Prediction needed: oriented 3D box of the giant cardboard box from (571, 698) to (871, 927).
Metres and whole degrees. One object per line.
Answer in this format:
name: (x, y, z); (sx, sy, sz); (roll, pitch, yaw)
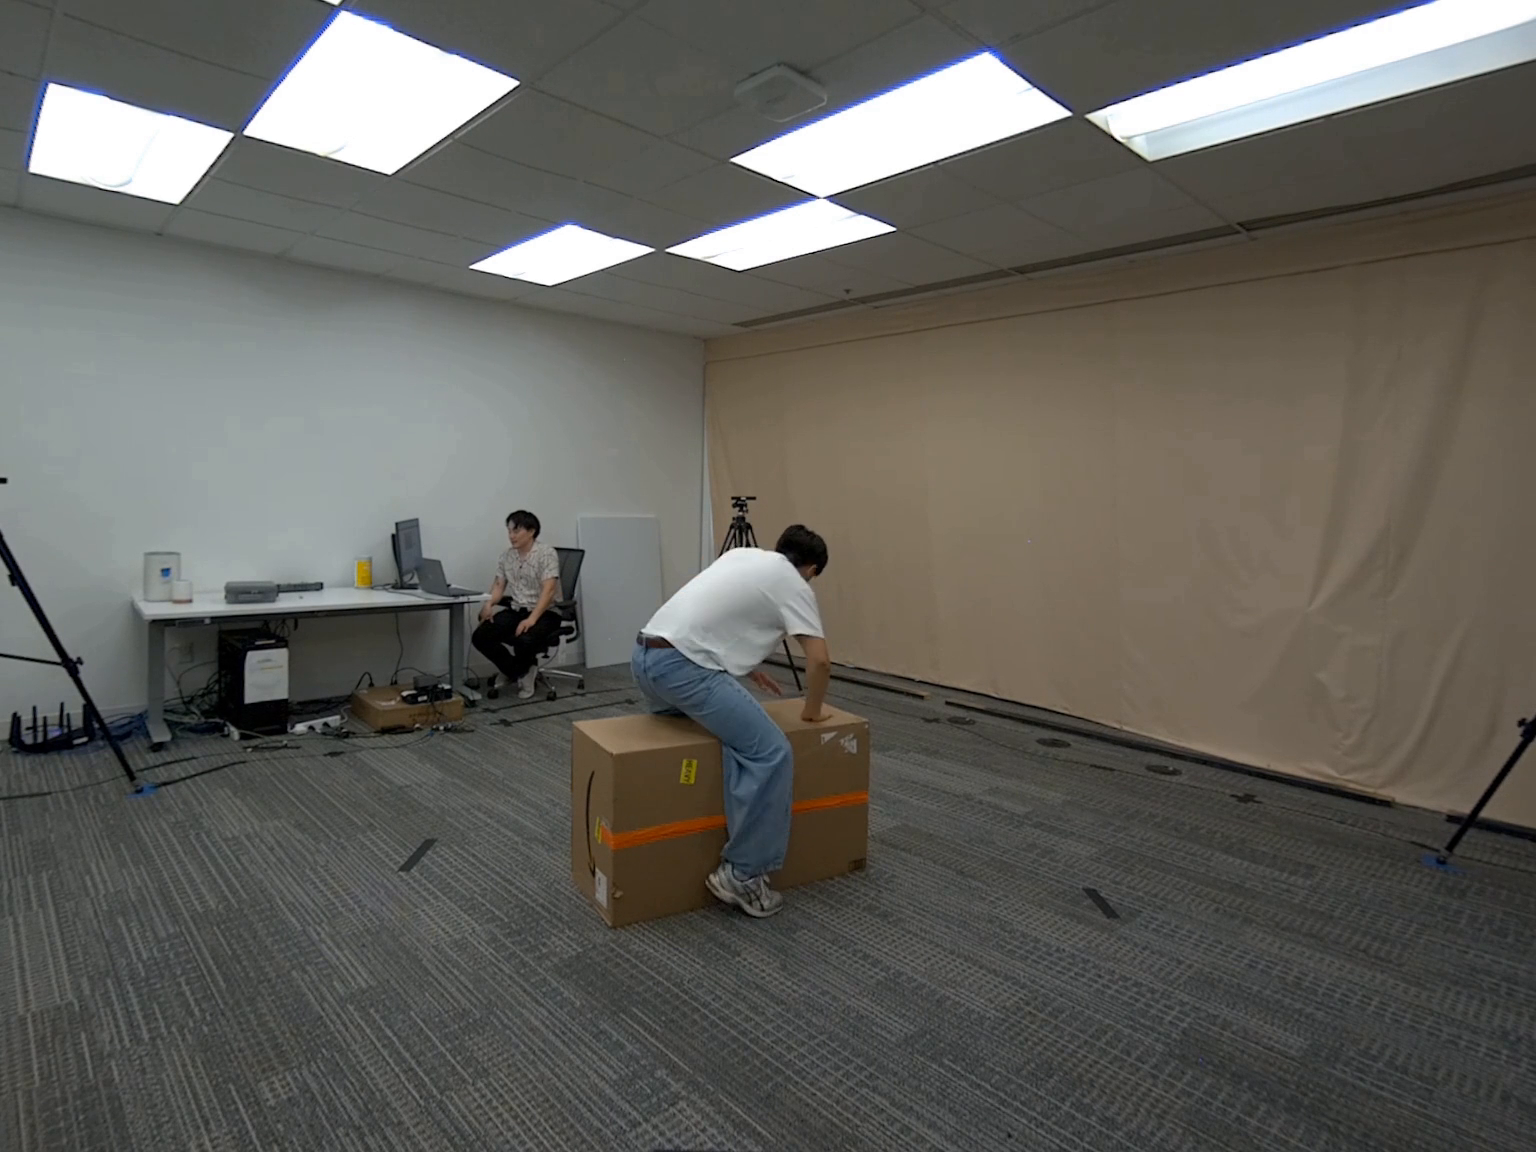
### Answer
giant cardboard box: (-0.170, 0.820, 3.104); (1.006, 0.576, 0.435); (-1, 4, -29)
